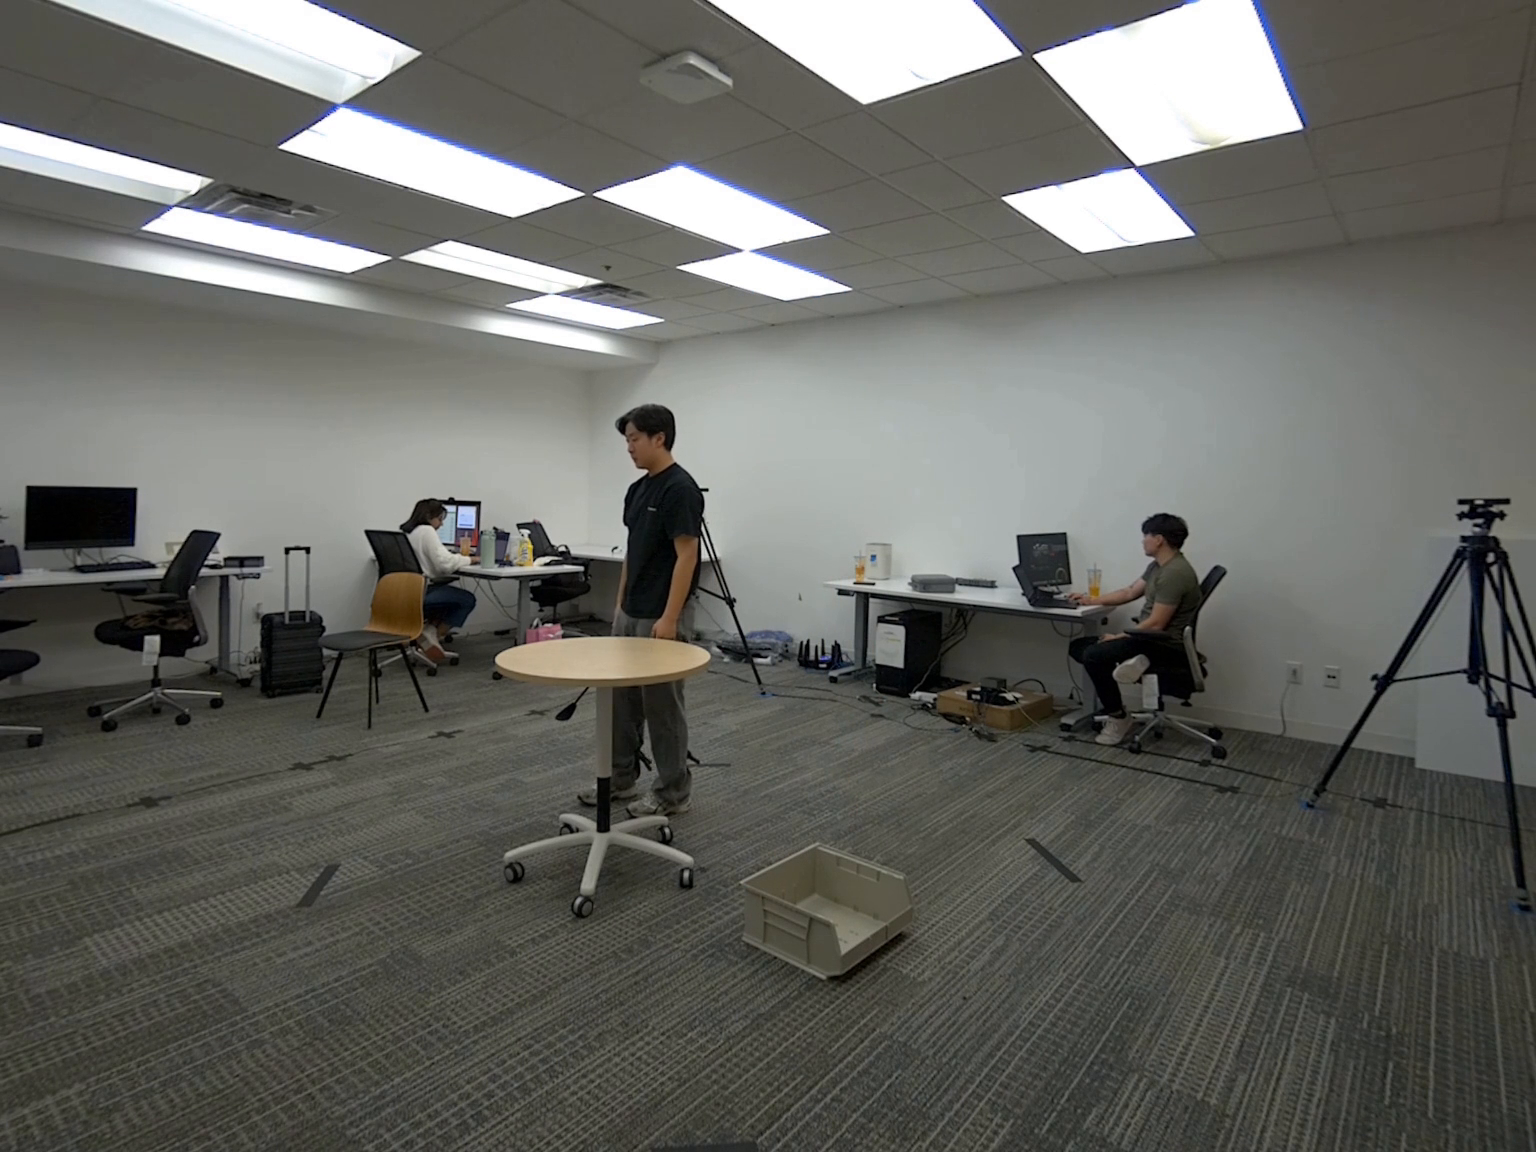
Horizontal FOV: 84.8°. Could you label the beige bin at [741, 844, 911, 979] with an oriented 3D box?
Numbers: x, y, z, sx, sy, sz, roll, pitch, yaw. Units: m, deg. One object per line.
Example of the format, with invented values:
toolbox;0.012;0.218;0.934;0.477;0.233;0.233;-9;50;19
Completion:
beige bin;0.180;1.034;2.651;0.390;0.188;0.410;4;6;40
